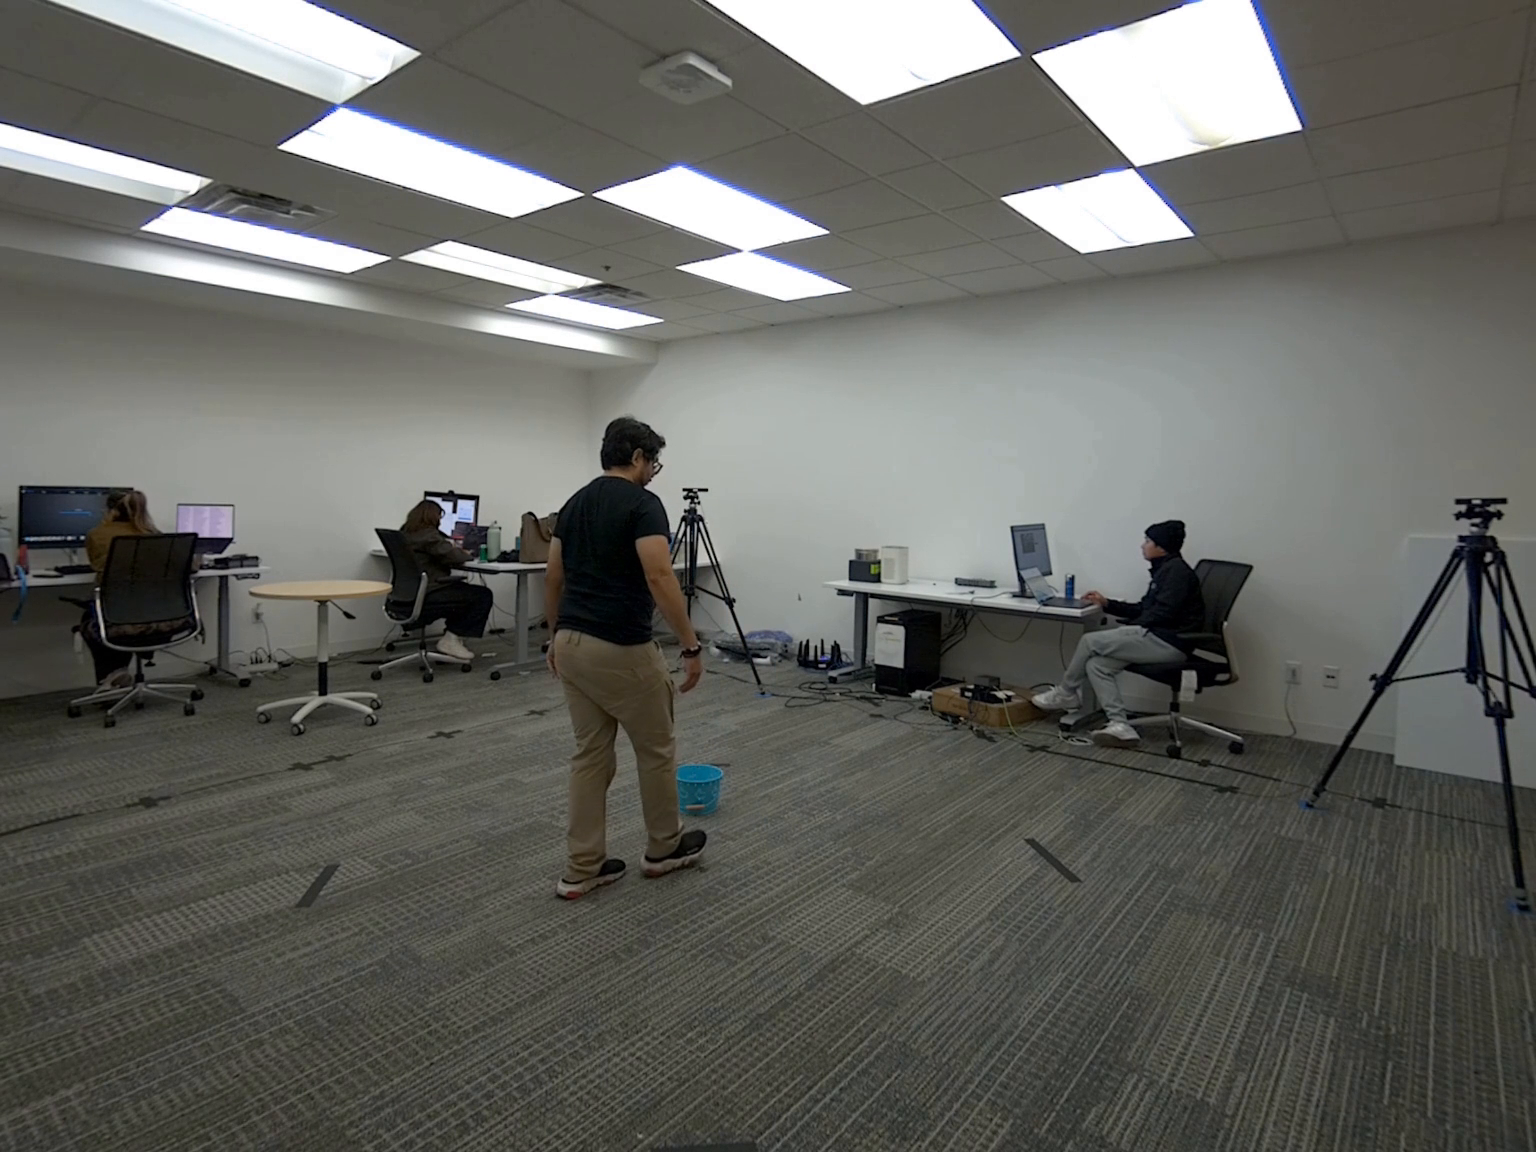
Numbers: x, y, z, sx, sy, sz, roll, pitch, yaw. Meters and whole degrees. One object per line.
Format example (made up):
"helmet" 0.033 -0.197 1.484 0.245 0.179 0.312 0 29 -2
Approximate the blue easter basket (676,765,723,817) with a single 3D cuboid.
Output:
"blue easter basket" -0.328 0.930 3.721 0.243 0.155 0.245 1 4 -2
